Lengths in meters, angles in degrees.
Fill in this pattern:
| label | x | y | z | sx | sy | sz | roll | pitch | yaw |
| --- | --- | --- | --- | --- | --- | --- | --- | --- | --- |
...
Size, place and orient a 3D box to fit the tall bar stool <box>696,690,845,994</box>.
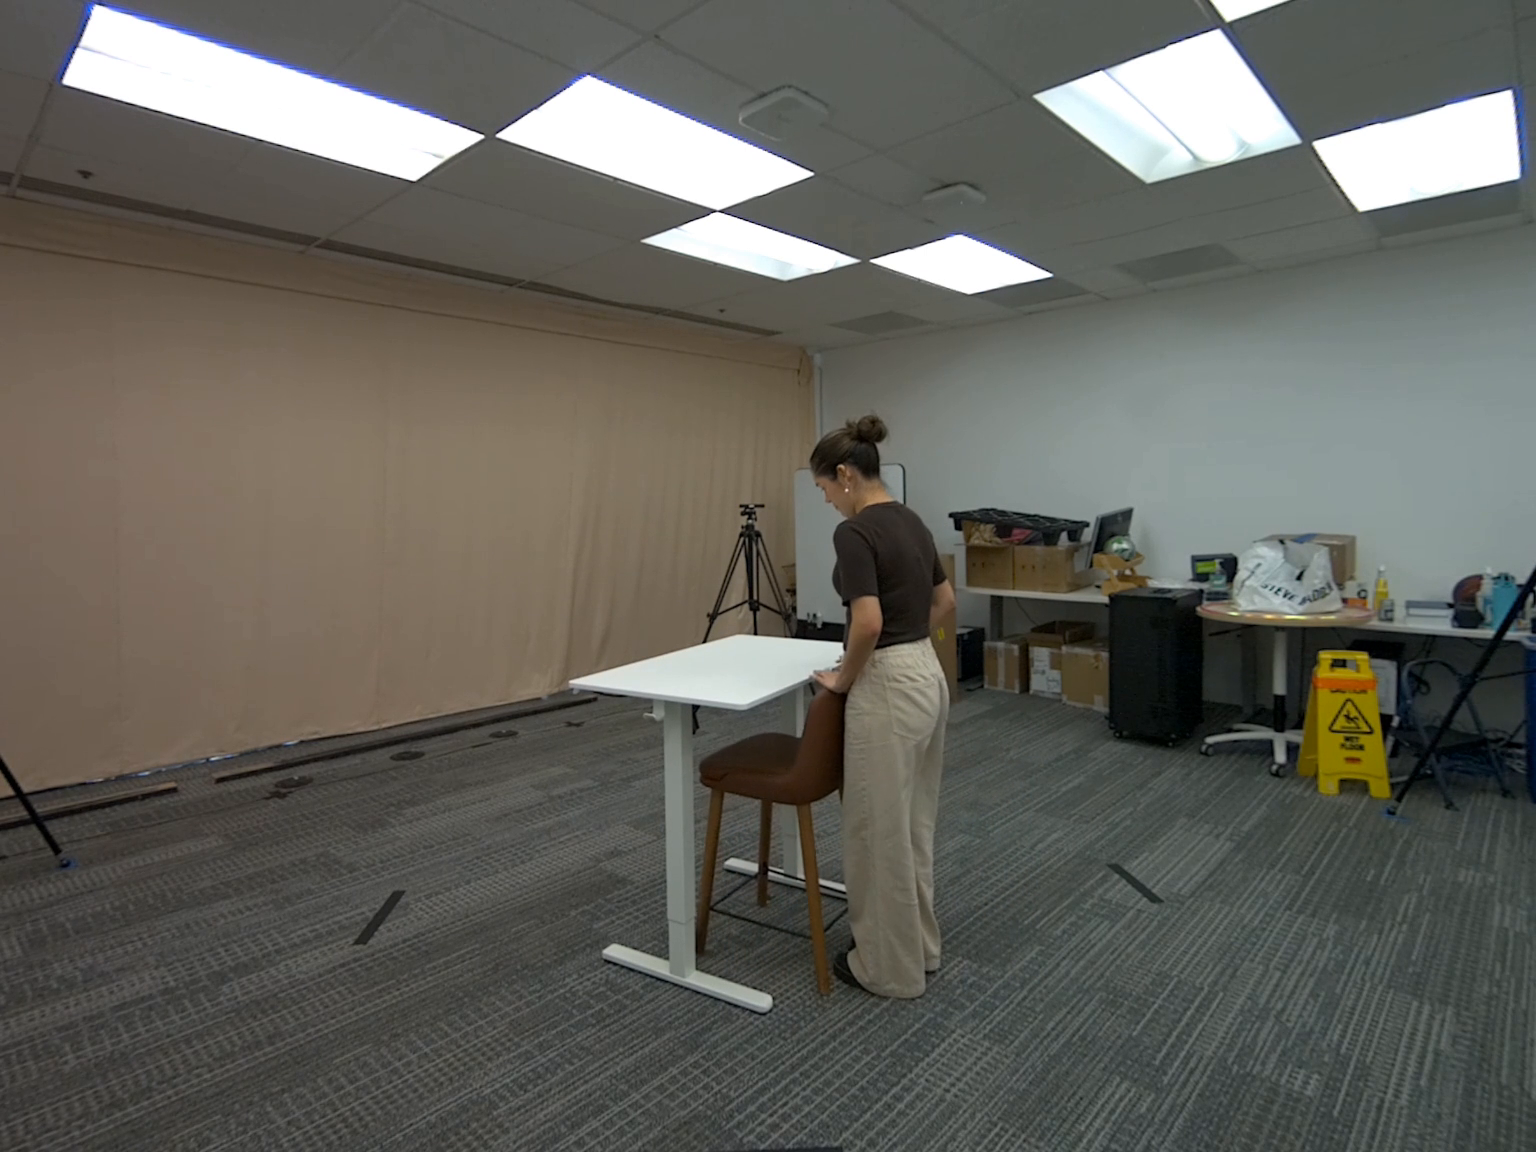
| label | x | y | z | sx | sy | sz | roll | pitch | yaw |
| --- | --- | --- | --- | --- | --- | --- | --- | --- | --- |
| tall bar stool | 0.067 | 0.734 | 2.628 | 0.482 | 0.887 | 0.444 | 4 | 5 | 33 |
